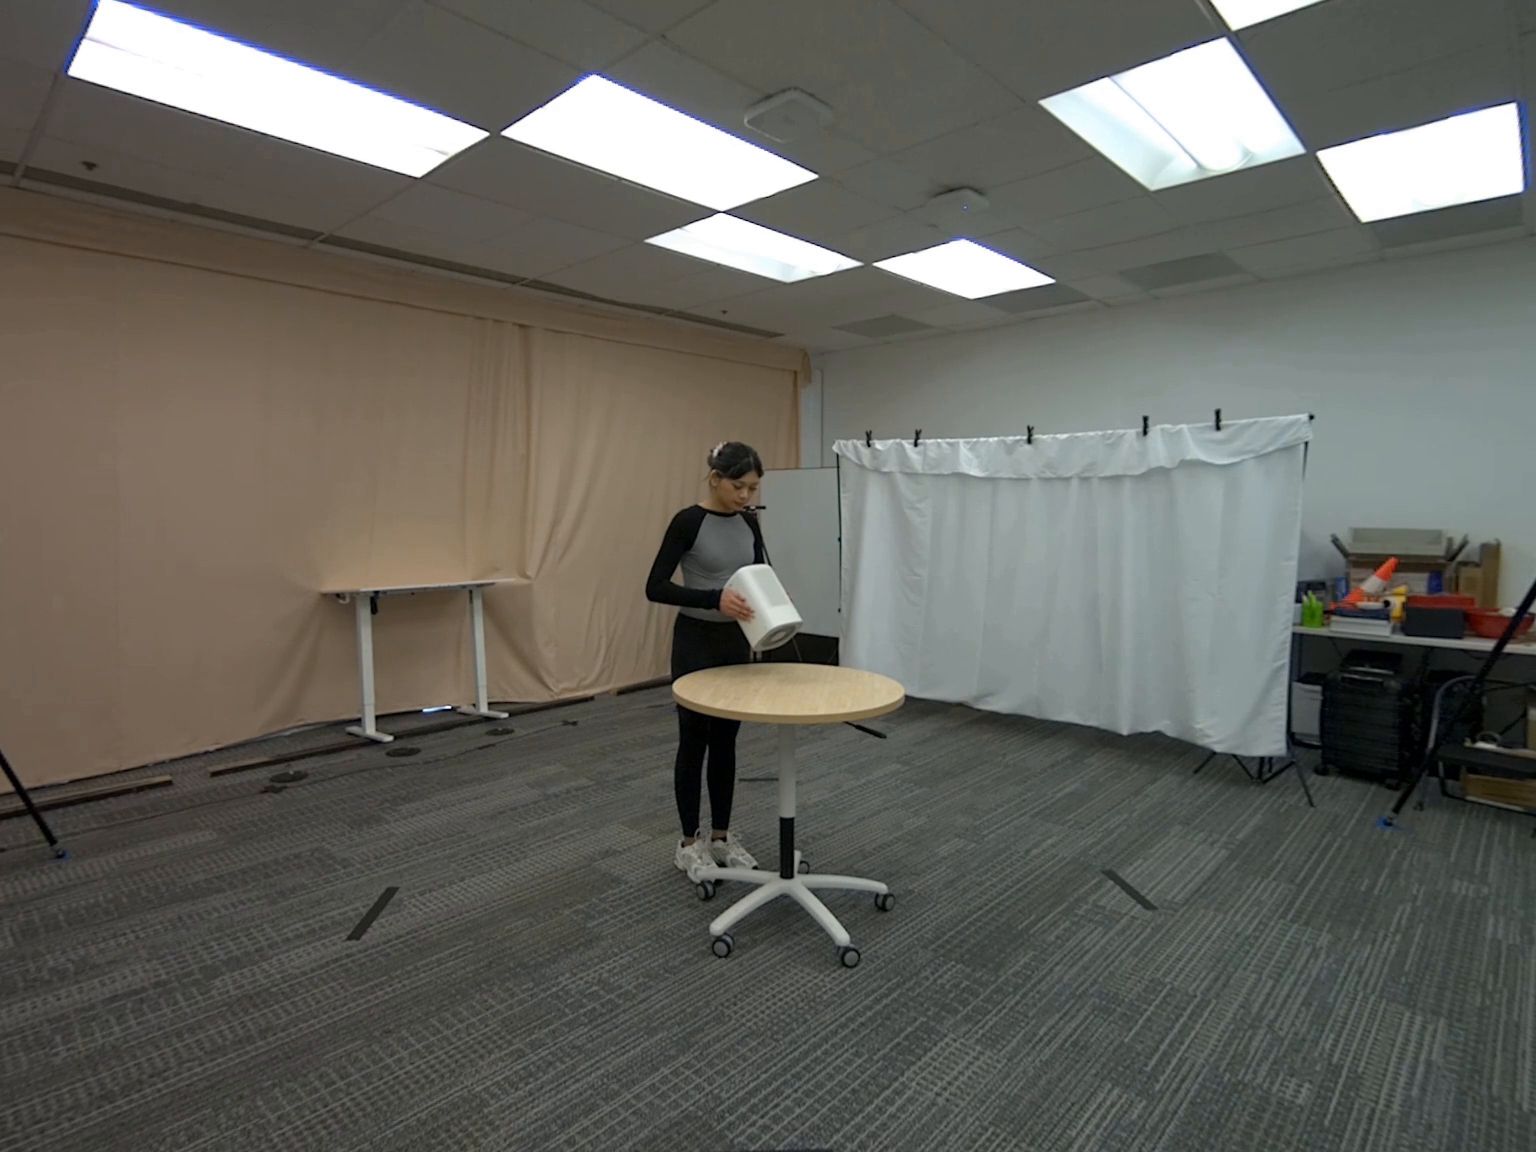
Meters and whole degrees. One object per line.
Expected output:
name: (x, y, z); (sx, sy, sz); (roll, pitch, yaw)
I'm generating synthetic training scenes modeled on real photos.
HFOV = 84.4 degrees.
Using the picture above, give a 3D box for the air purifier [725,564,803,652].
air purifier: (-0.021, 0.106, 2.986); (0.166, 0.272, 0.172); (-7, -33, -41)
